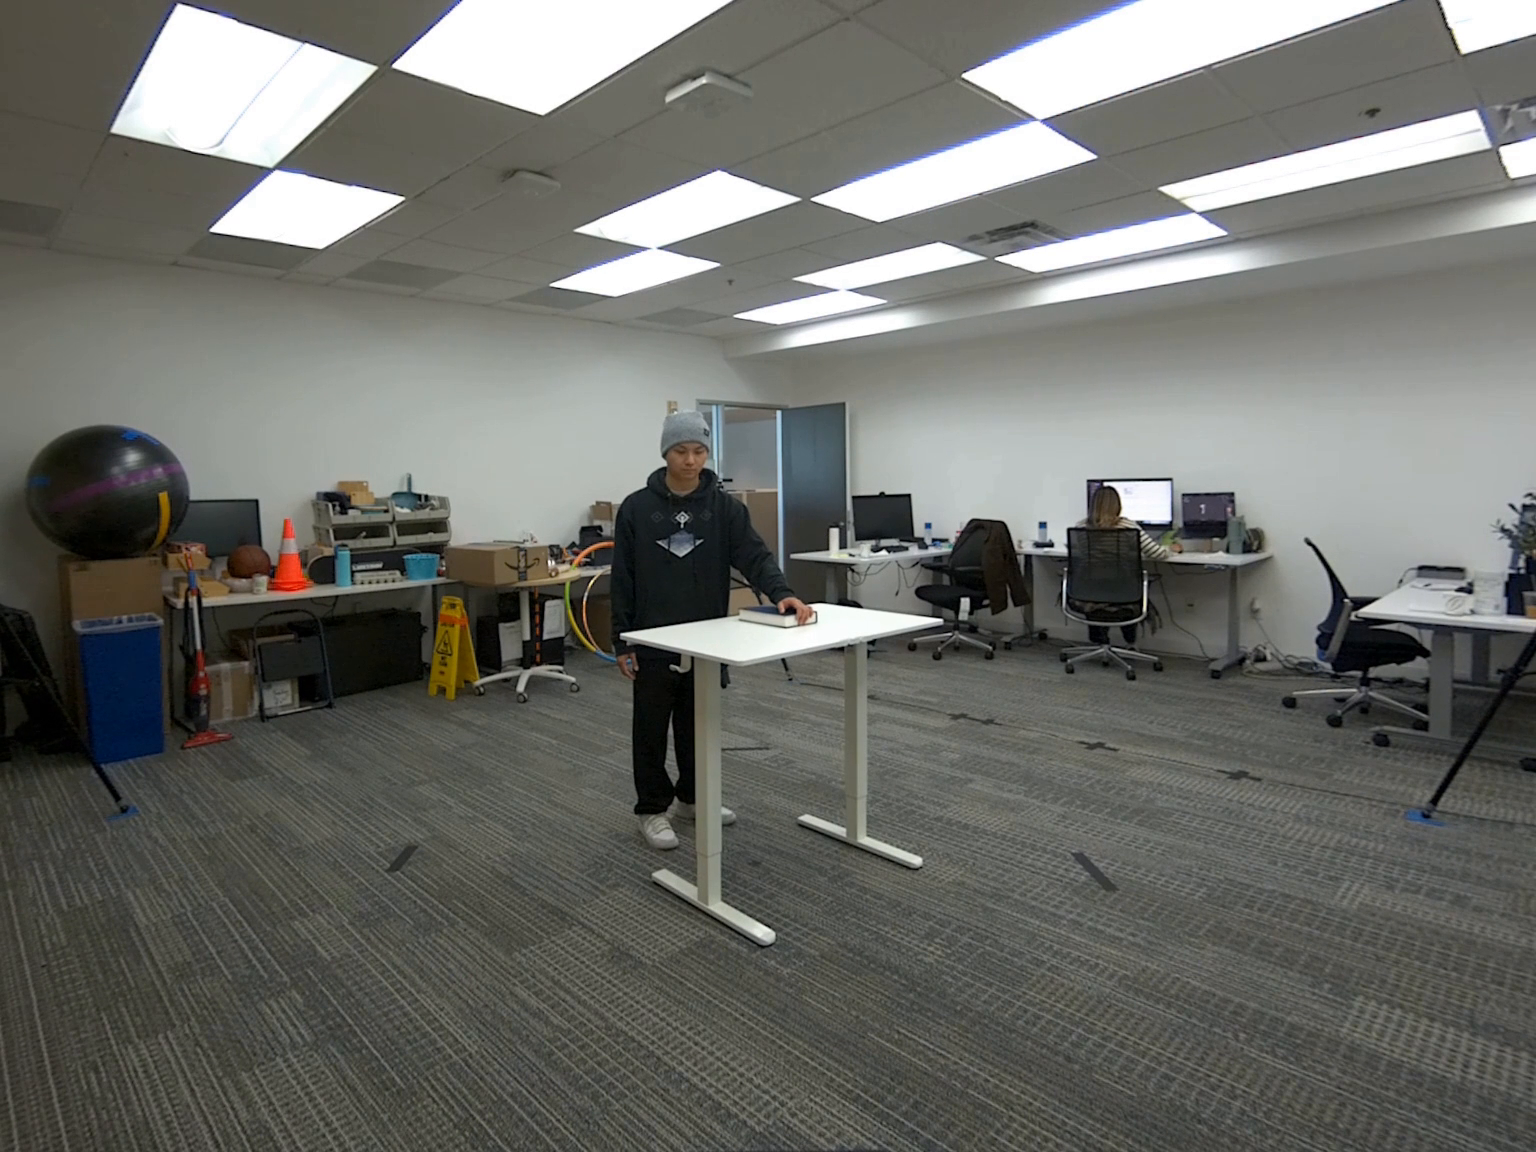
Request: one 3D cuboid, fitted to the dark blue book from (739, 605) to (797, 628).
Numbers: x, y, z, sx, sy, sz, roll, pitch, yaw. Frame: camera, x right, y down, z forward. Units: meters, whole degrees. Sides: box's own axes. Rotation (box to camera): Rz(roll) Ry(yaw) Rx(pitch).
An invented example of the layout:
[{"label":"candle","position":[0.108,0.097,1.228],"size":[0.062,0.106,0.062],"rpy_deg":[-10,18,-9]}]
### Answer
[{"label":"dark blue book","position":[0.027,0.144,3.078],"size":[0.159,0.045,0.253],"rpy_deg":[-5,9,-43]}]
